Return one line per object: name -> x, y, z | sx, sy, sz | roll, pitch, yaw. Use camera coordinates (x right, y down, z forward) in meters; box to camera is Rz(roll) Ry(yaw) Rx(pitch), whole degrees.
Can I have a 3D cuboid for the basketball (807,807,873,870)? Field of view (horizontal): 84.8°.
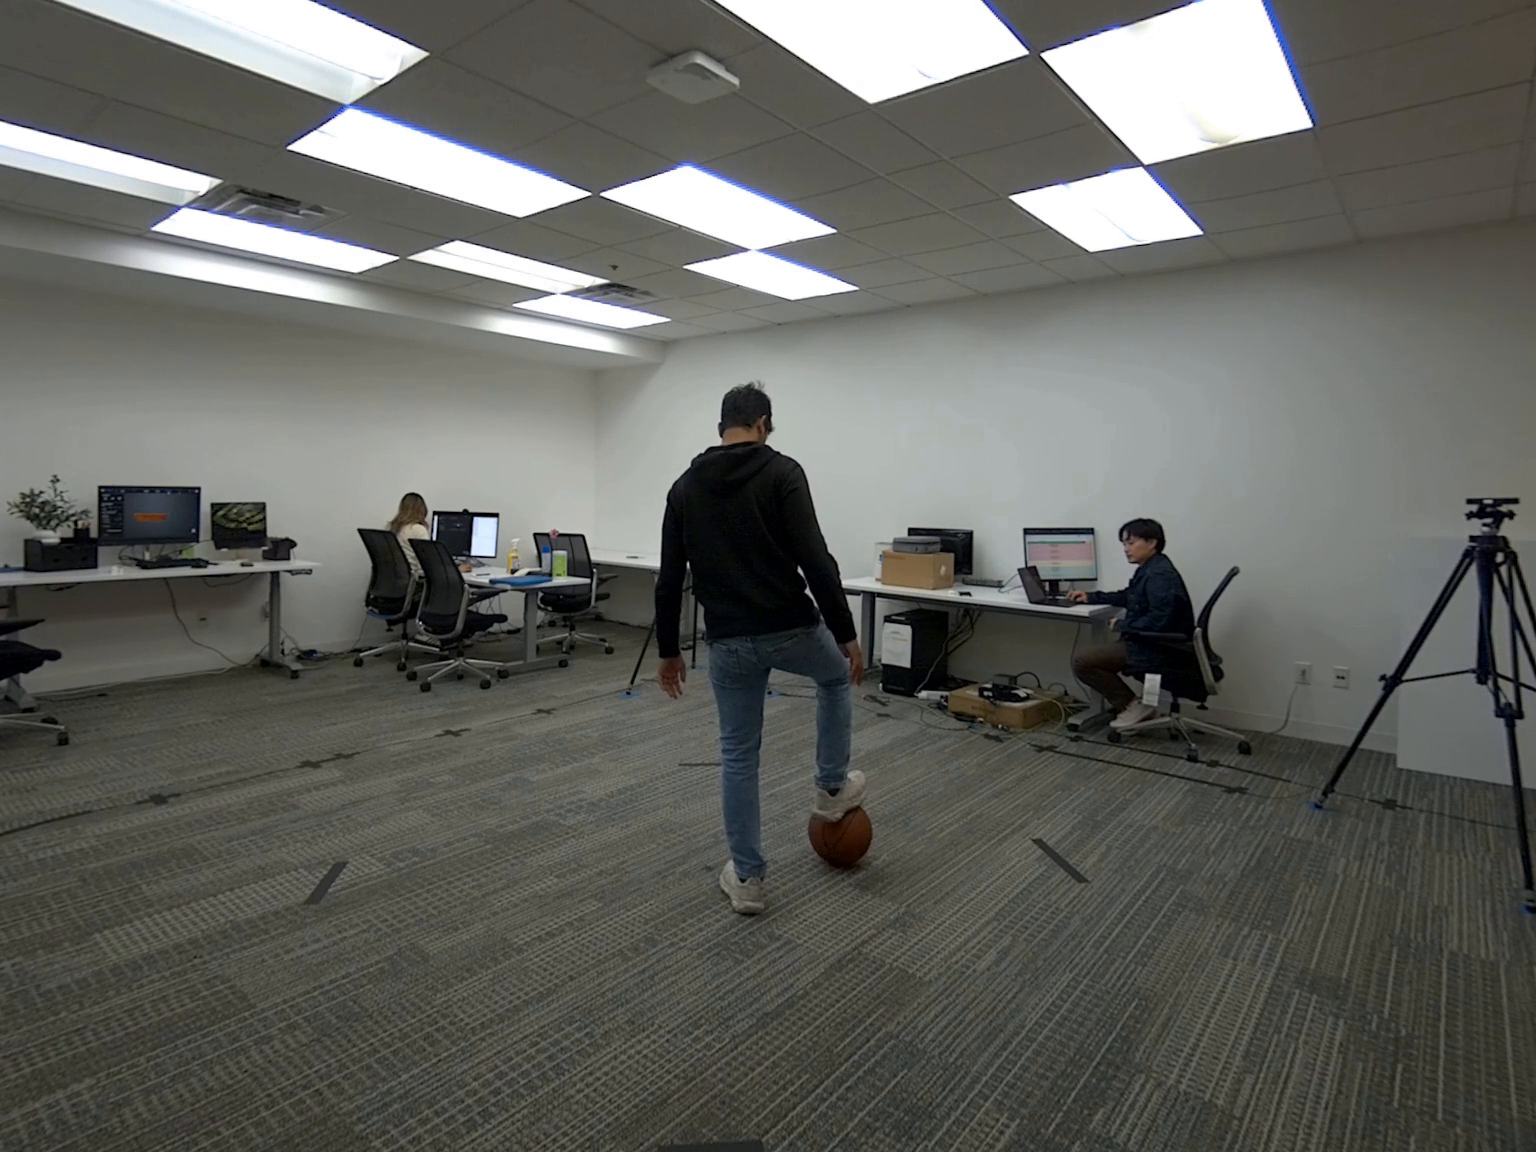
basketball -> 0.267, 0.953, 3.188 | 0.235, 0.235, 0.237 | 1, 4, -2
